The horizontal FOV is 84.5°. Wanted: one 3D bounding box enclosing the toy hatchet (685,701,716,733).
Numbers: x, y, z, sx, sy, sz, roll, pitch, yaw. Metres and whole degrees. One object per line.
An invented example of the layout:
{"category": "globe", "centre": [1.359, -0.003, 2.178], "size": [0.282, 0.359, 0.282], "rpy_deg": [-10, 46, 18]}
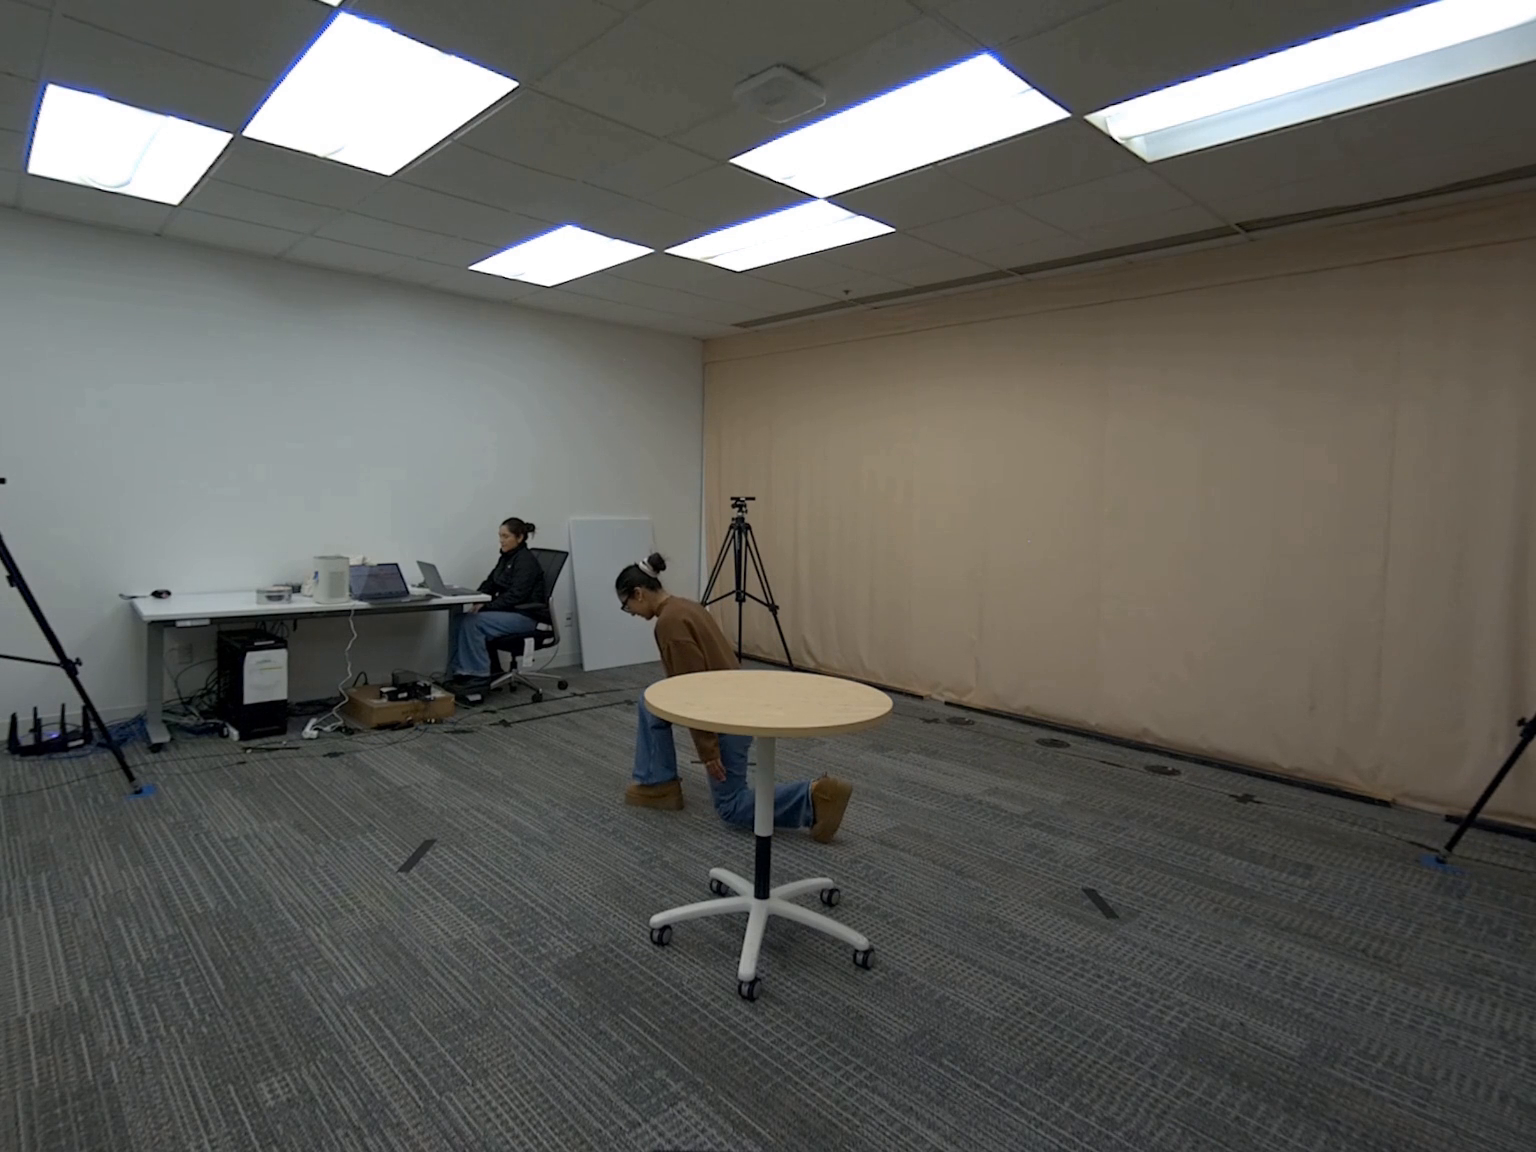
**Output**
{"category": "toy hatchet", "centre": [-0.339, 0.712, 4.186], "size": [0.029, 0.131, 0.276], "rpy_deg": [9, 0, -28]}
